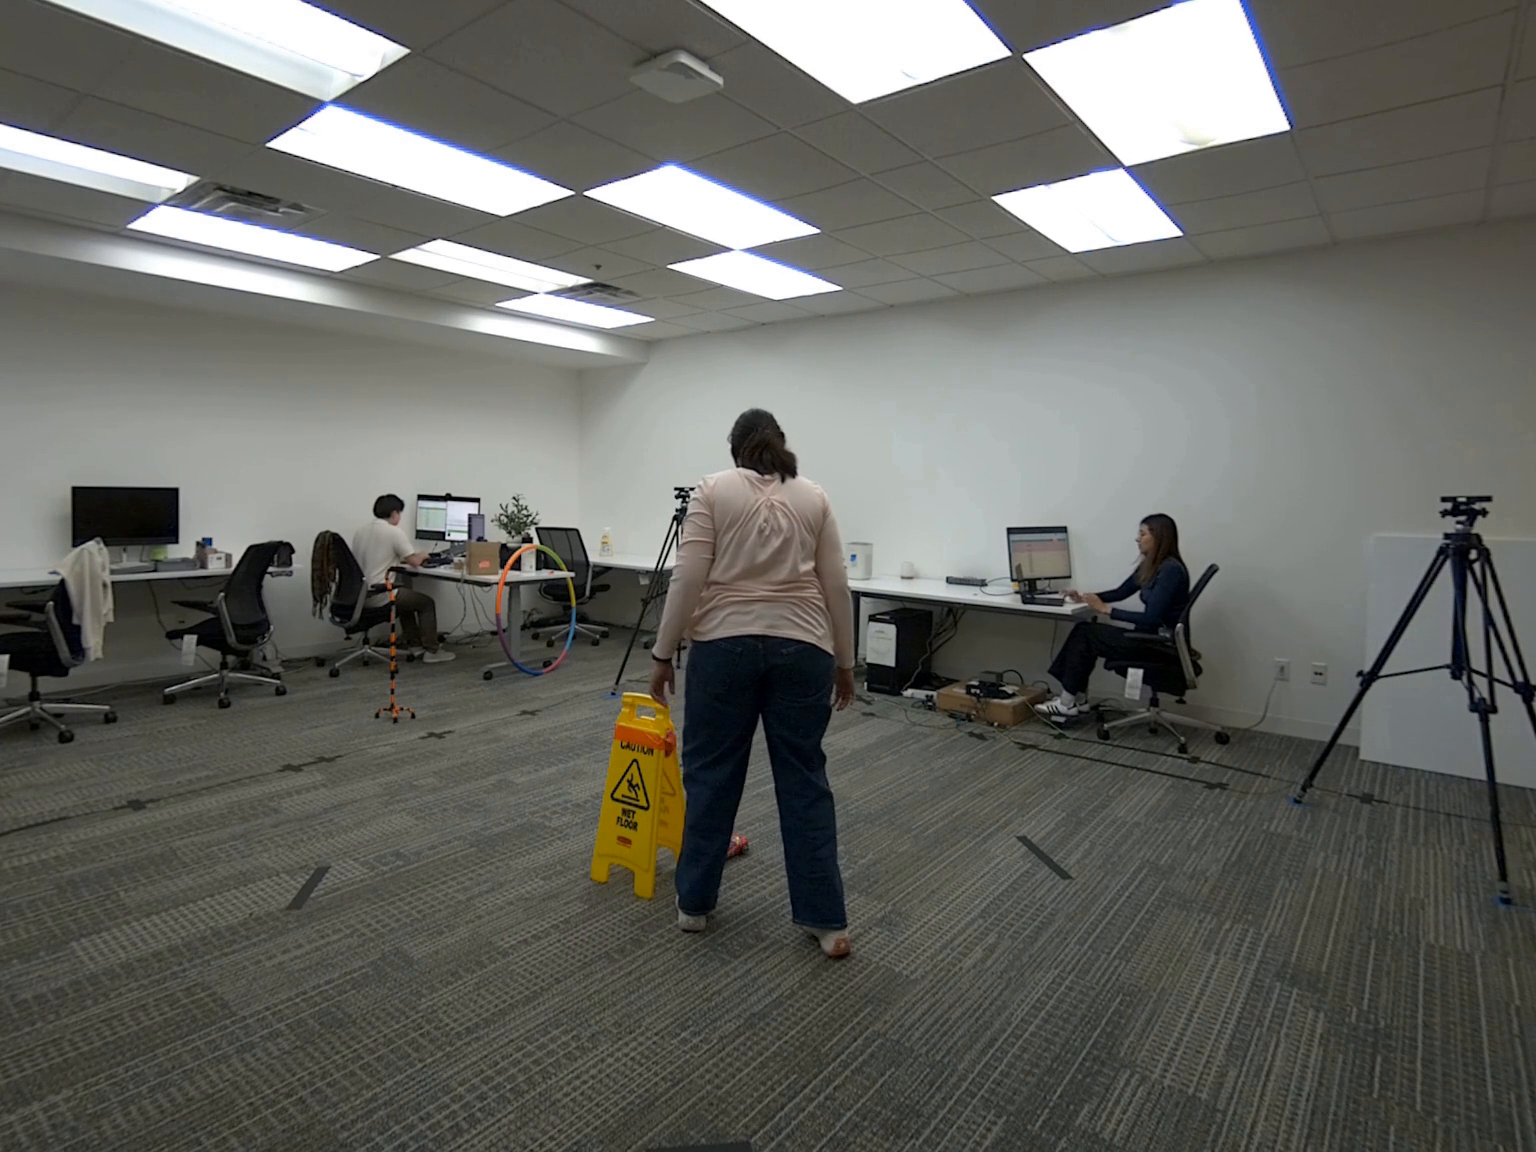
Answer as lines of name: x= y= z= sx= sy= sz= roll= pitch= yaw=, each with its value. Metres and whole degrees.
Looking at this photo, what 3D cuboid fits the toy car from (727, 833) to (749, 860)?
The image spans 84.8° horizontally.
toy car: x=-0.194 y=1.025 z=3.196 sx=0.135 sy=0.083 sz=0.245 roll=5 pitch=-4 yaw=41
